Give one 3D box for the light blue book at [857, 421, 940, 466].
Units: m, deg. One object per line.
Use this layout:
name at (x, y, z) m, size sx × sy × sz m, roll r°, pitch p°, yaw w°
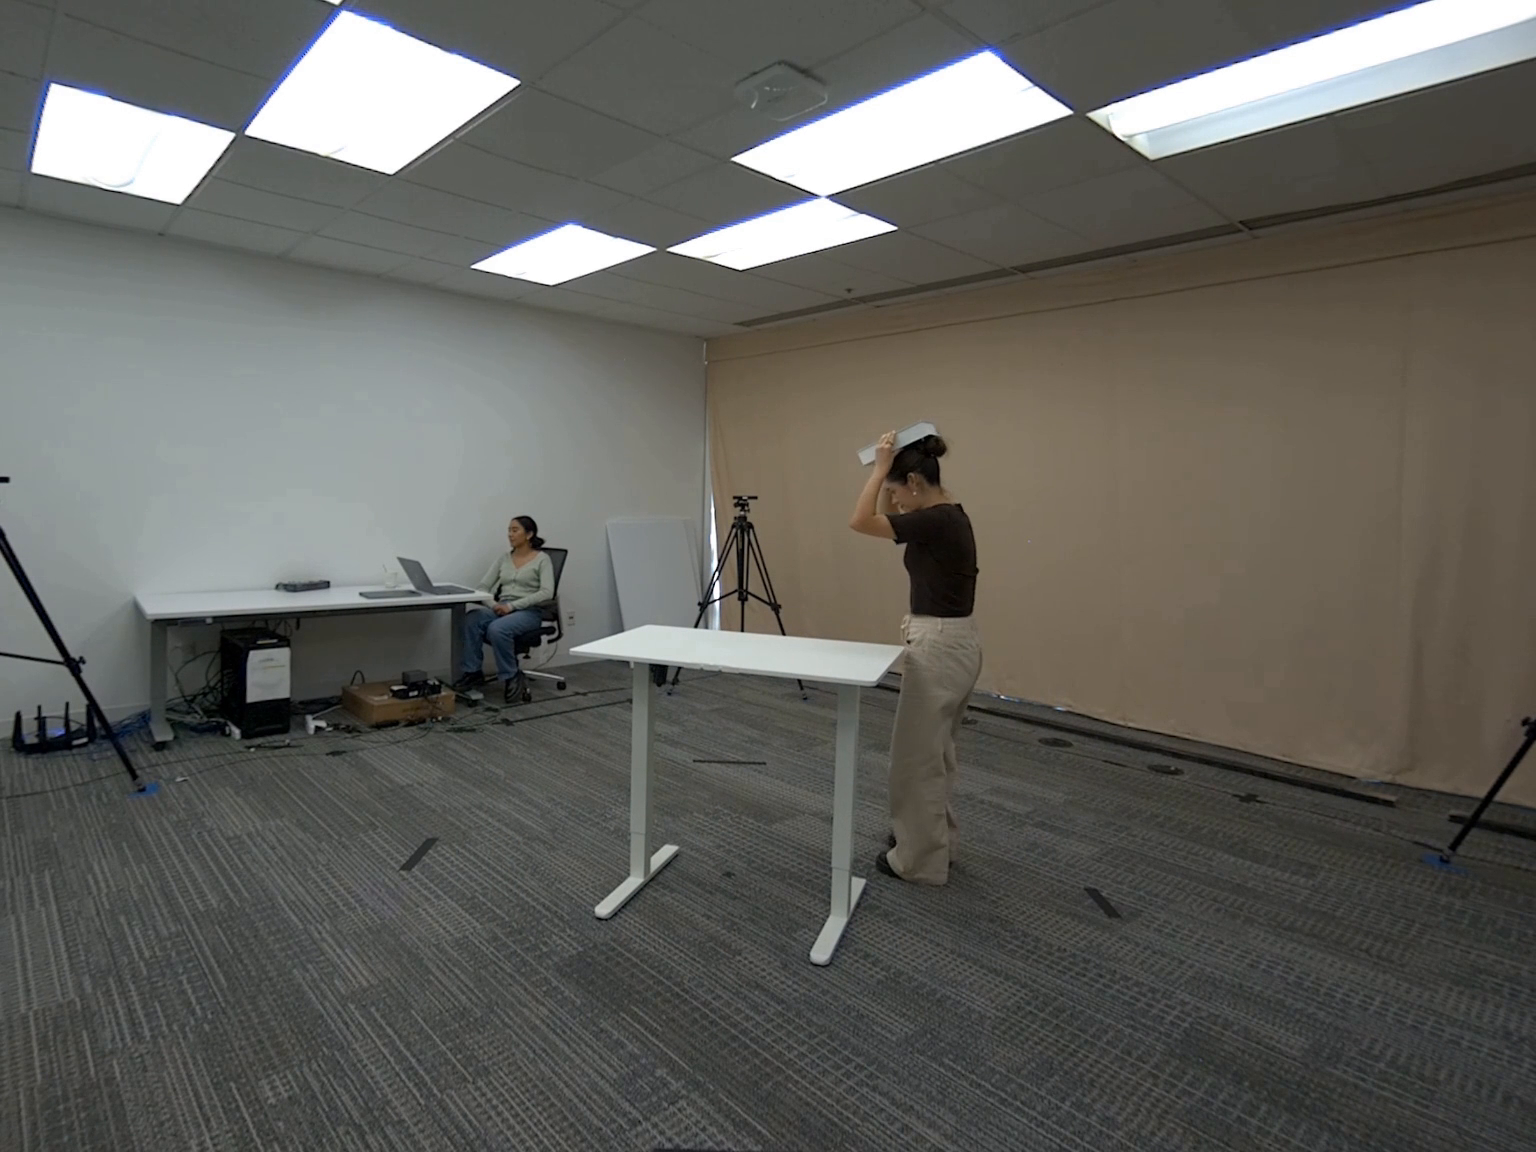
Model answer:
light blue book at (0.467, -0.479, 3.064) m, size 0.263 × 0.059 × 0.189 m, roll -23°, pitch -3°, yaw 24°
